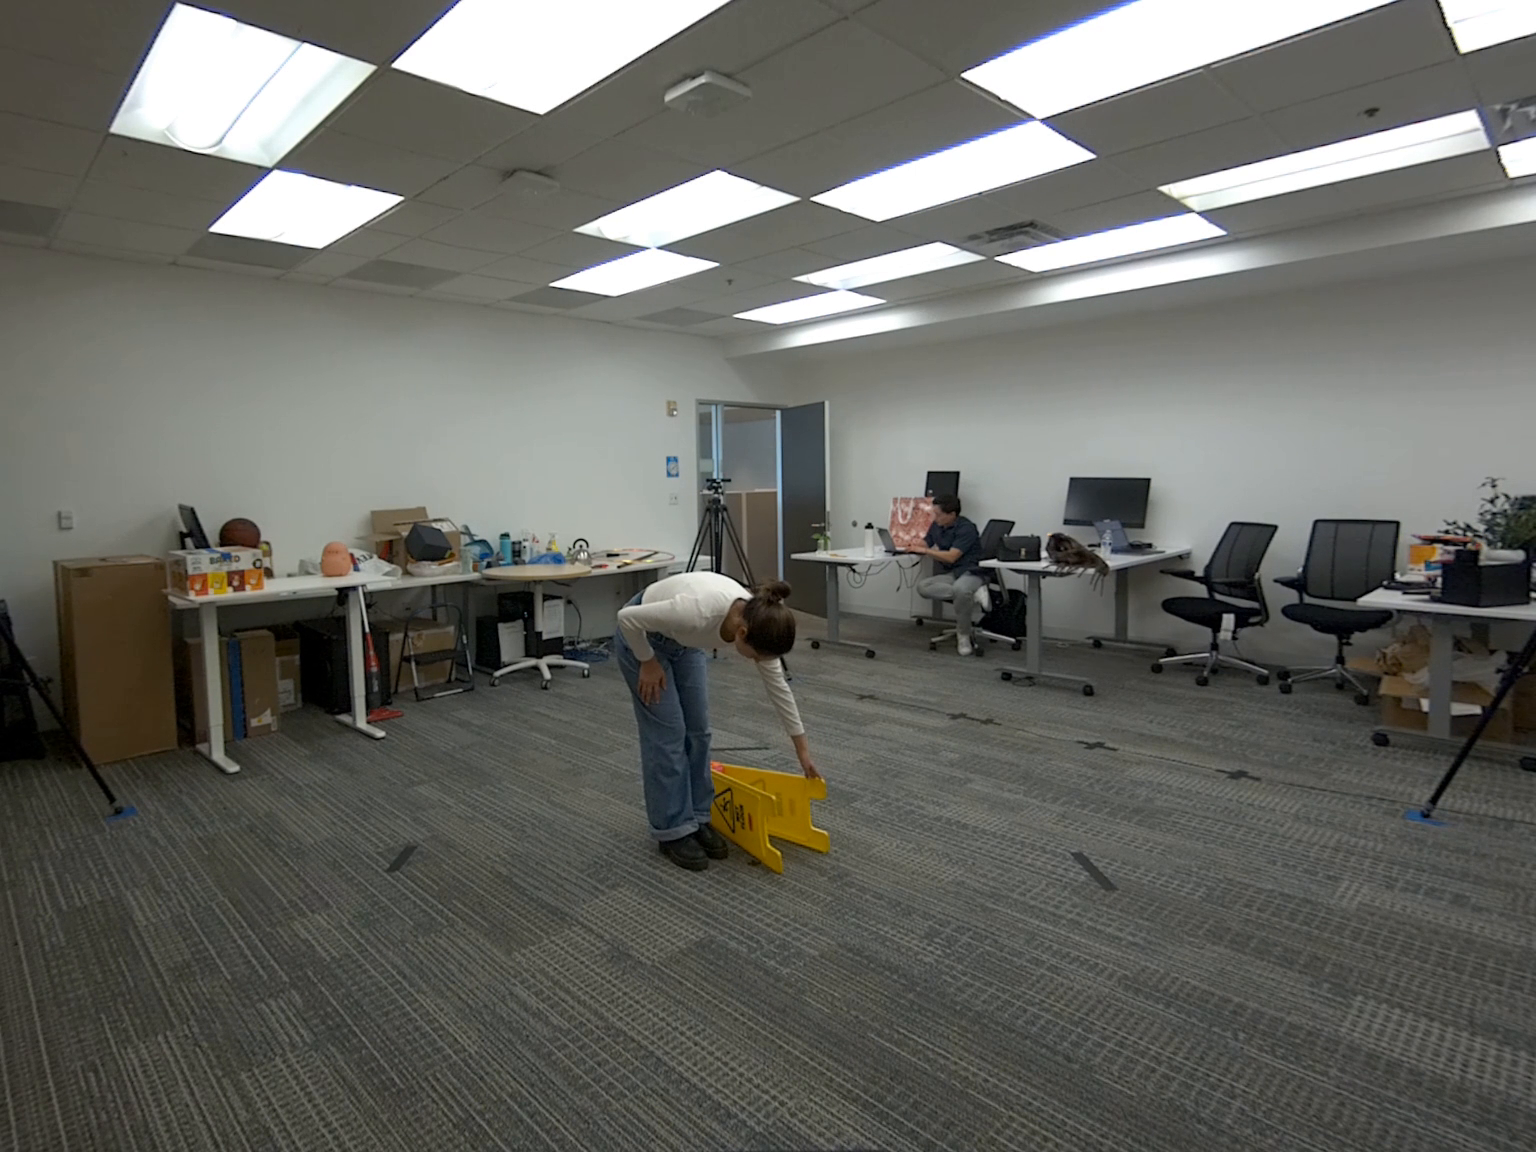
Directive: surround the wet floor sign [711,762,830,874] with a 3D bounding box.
[{"bbox_3d":[-0.099,0.890,3.332,0.282,0.281,0.666,-6,7,-42],"label":"wet floor sign"}]
